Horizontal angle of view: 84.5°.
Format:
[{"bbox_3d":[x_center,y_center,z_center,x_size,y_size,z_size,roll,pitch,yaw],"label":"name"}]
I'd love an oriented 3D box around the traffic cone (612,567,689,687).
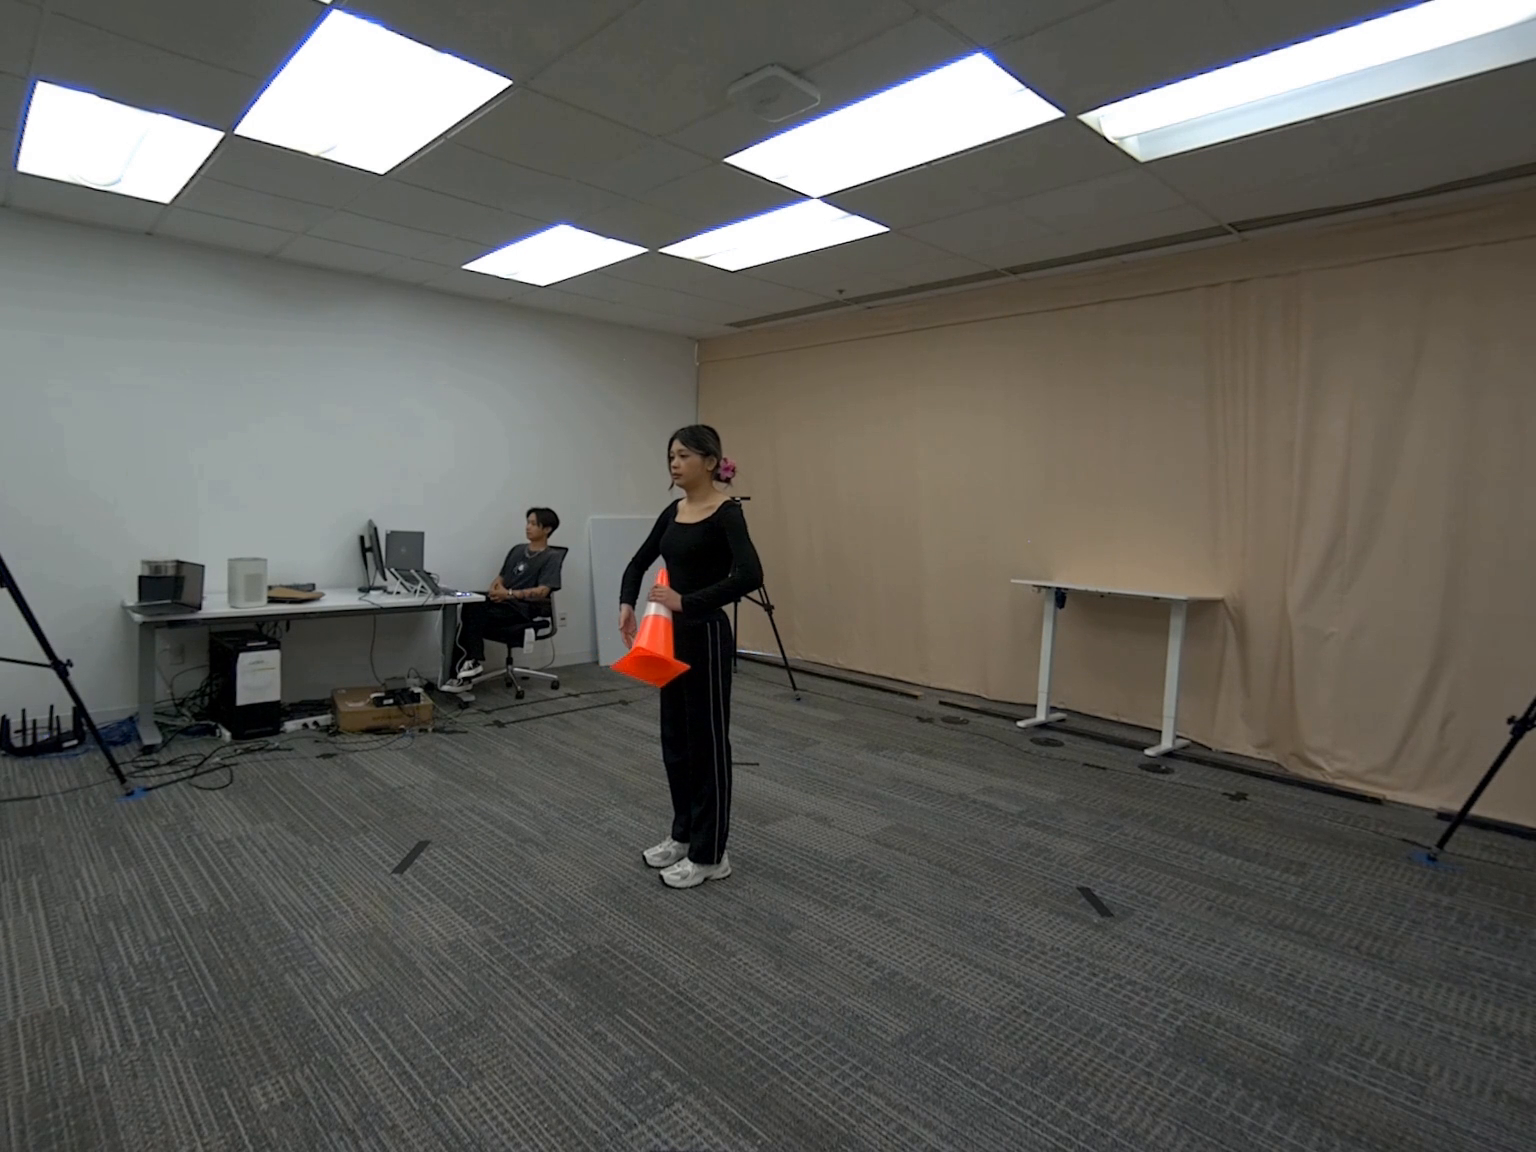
[{"bbox_3d":[-0.385,0.147,2.841,0.198,0.391,0.206,26,-41,-26],"label":"traffic cone"}]
